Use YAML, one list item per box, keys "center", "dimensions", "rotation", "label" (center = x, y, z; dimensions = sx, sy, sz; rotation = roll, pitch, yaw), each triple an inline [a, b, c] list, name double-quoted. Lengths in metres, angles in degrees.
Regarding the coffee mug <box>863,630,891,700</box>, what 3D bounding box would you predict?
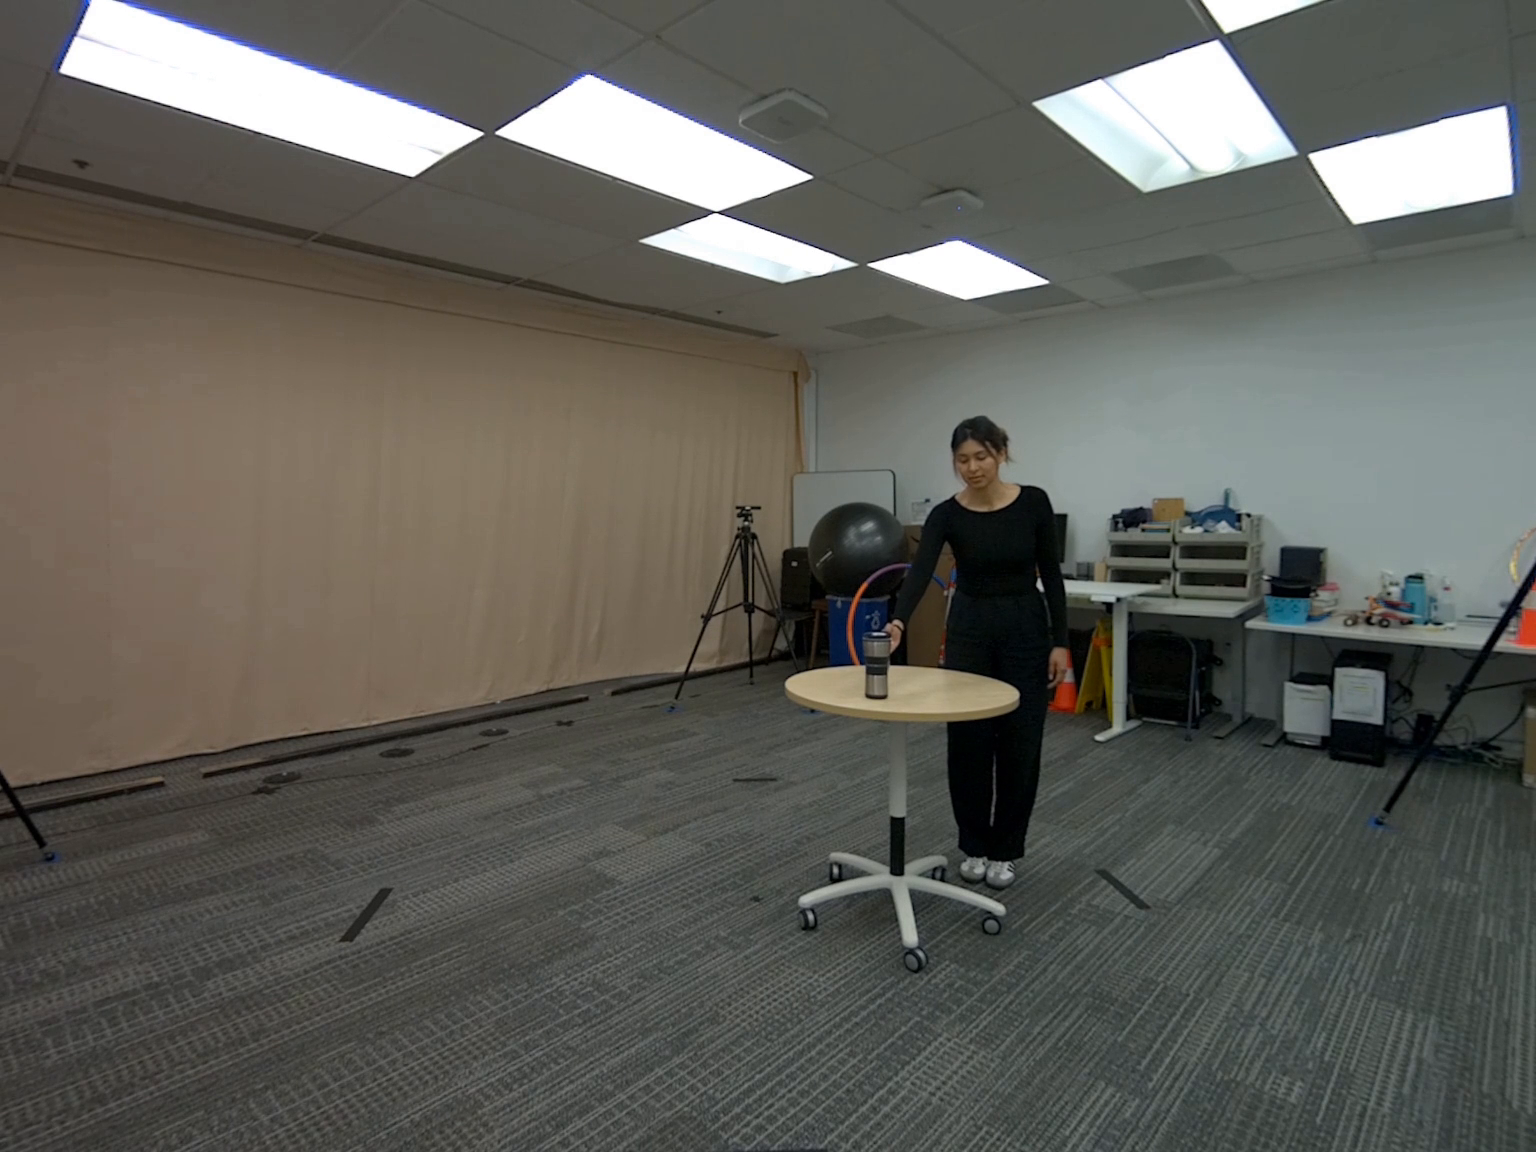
- center: [0.359, 0.278, 2.671]
  dimensions: [0.118, 0.203, 0.090]
  rotation: [-5, 1, -35]
  label: "coffee mug"
